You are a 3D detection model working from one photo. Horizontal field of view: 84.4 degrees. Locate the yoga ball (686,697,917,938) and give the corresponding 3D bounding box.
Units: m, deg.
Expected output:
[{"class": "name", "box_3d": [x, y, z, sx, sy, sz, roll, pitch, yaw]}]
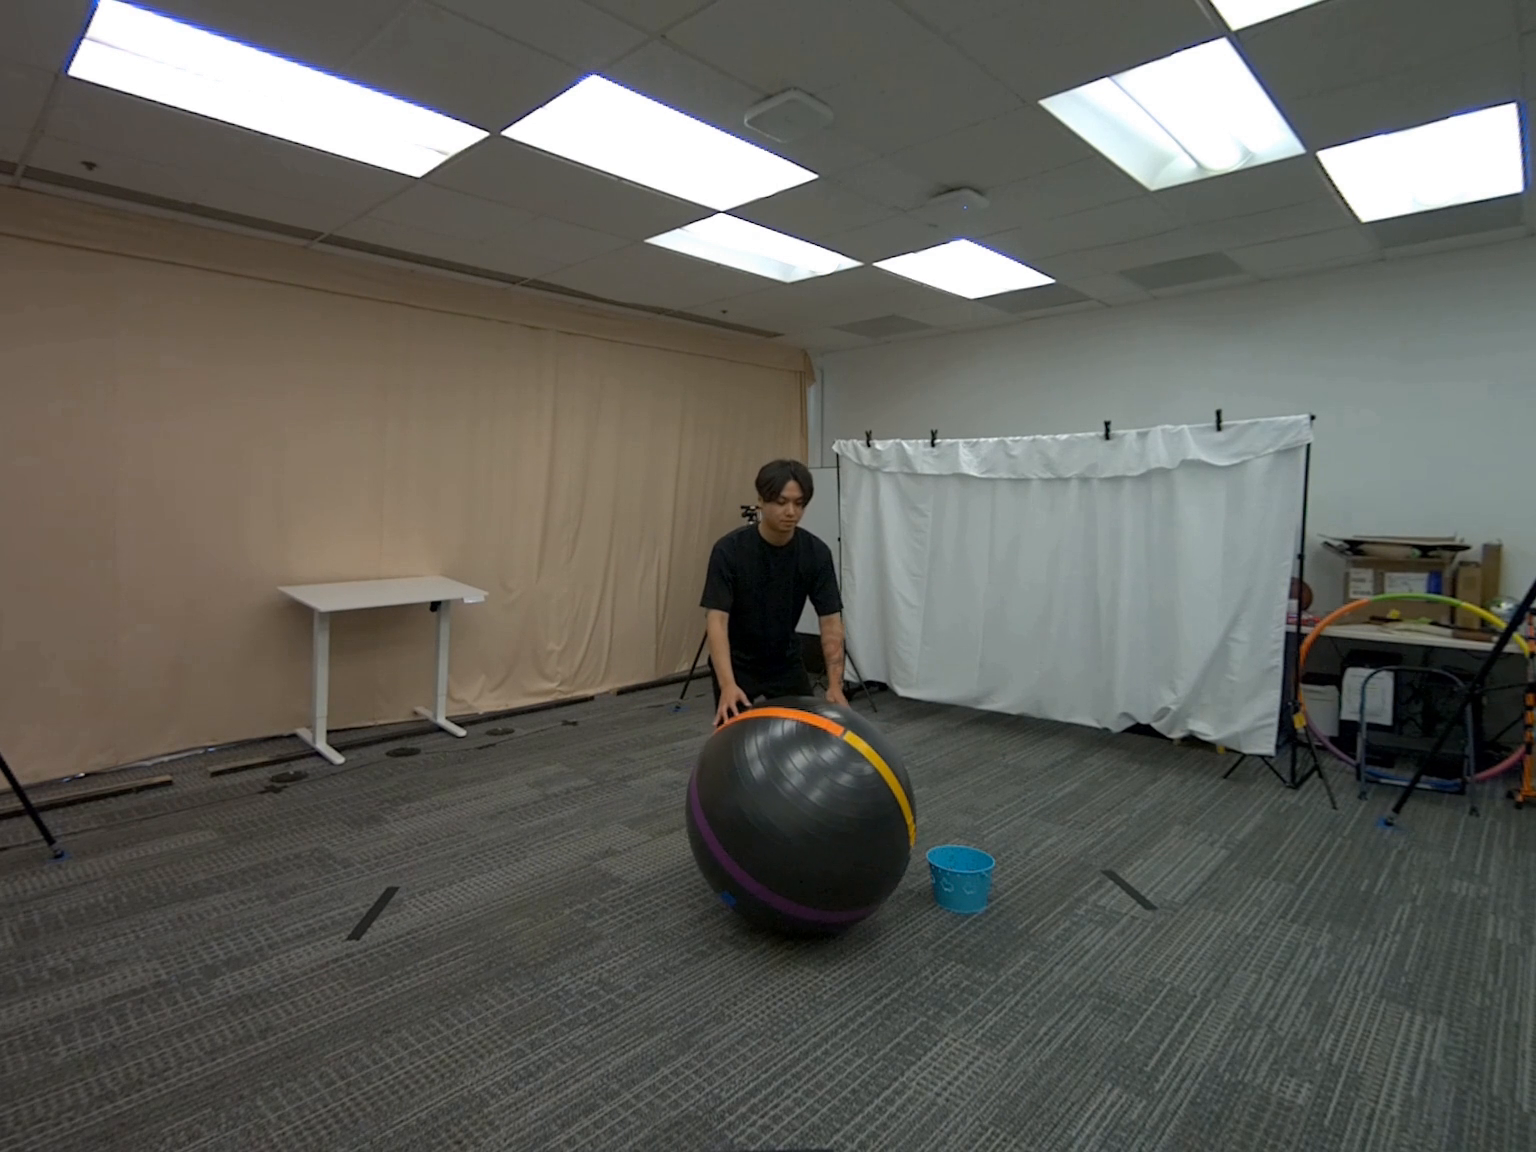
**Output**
[{"class": "yoga ball", "box_3d": [0.118, 0.787, 2.808, 0.757, 0.756, 0.760, 0, 4, -2]}]
